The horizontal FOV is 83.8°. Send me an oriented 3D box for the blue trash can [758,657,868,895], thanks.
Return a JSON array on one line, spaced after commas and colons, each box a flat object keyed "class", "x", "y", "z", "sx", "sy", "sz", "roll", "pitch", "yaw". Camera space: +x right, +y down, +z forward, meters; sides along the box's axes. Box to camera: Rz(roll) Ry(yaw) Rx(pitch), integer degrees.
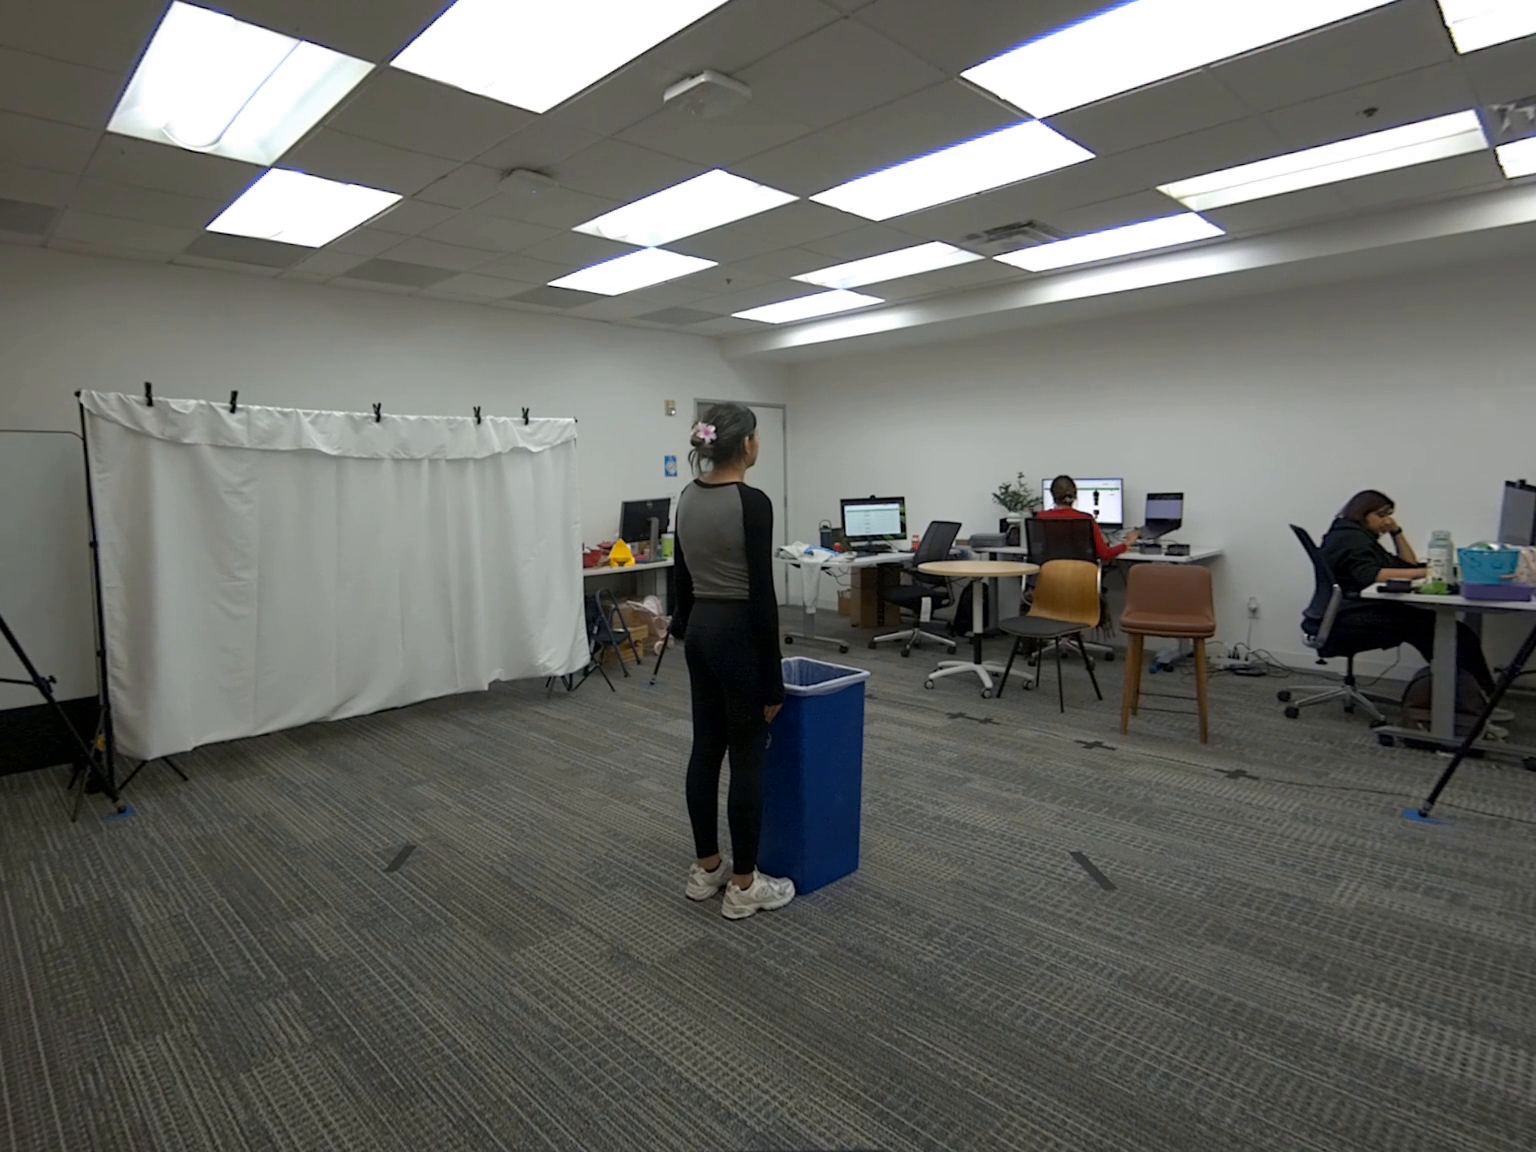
[{"class": "blue trash can", "x": 0.124, "y": 0.690, "z": 3.033, "sx": 0.368, "sy": 0.711, "sz": 0.385, "roll": -5, "pitch": 5, "yaw": -44}]
